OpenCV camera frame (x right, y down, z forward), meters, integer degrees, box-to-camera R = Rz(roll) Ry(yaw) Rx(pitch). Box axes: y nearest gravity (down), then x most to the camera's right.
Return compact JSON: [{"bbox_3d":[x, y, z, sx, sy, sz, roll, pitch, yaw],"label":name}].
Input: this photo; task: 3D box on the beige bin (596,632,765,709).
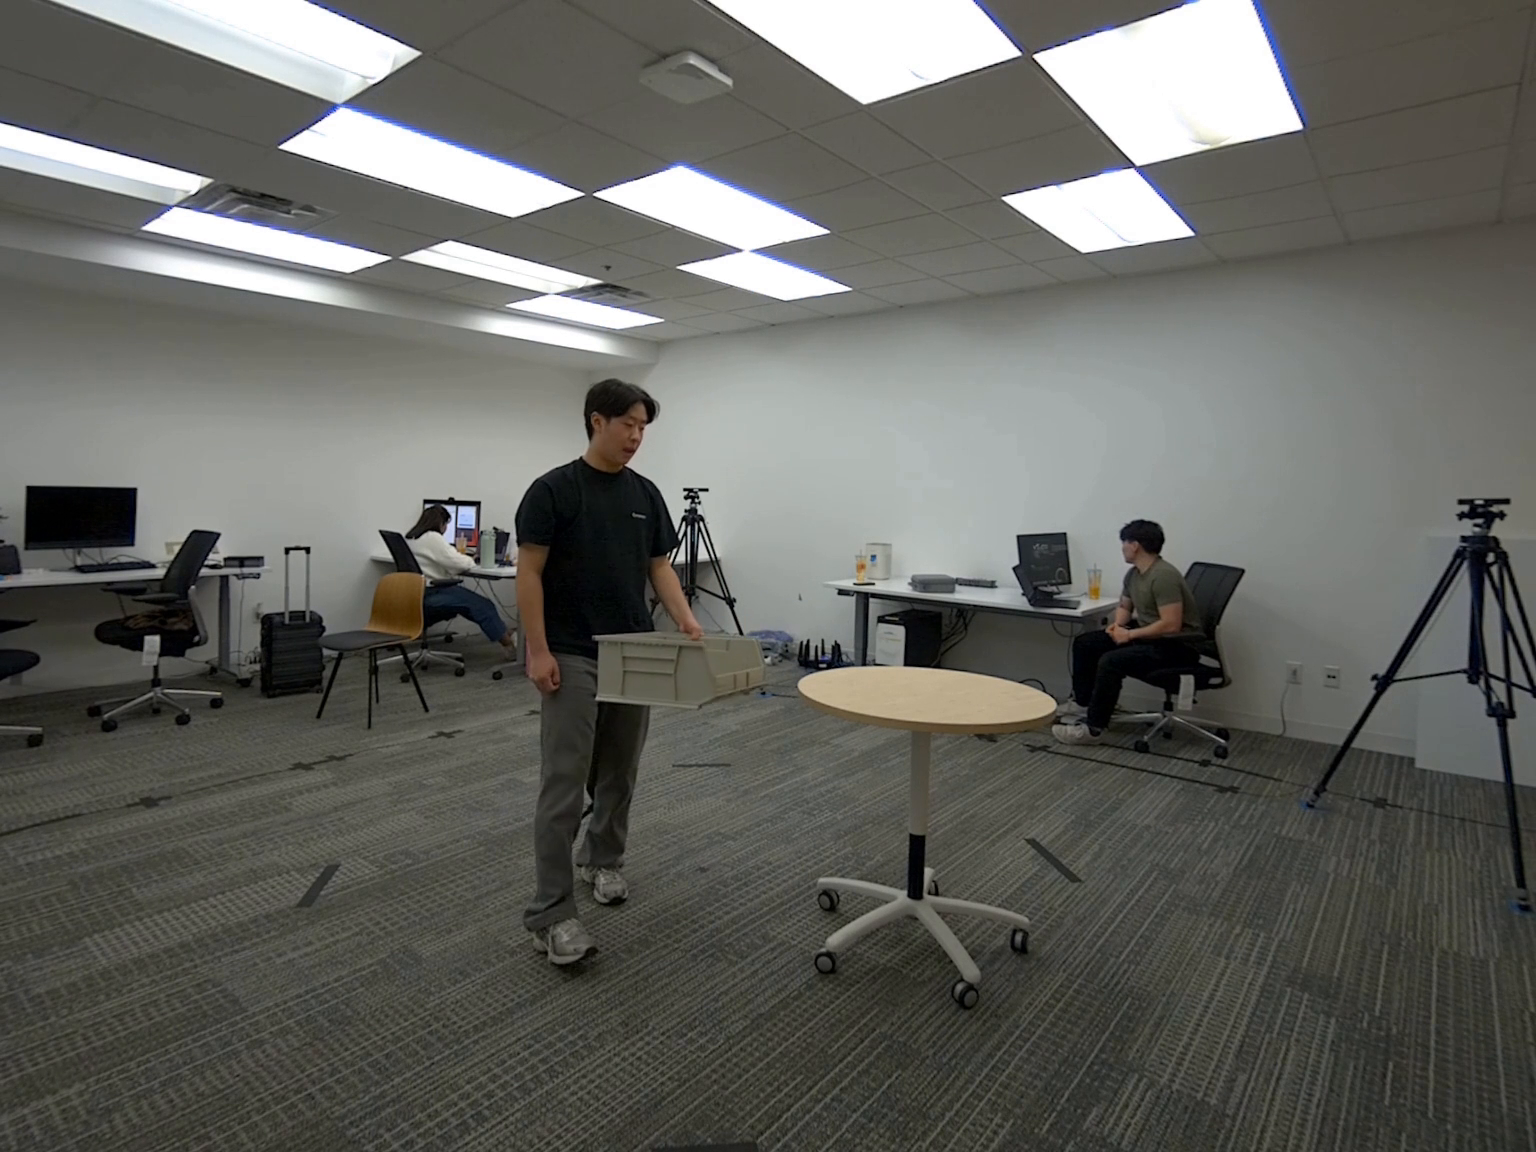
[{"bbox_3d":[-0.258,0.265,2.495,0.385,0.189,0.413,-1,-1,20],"label":"beige bin"}]
